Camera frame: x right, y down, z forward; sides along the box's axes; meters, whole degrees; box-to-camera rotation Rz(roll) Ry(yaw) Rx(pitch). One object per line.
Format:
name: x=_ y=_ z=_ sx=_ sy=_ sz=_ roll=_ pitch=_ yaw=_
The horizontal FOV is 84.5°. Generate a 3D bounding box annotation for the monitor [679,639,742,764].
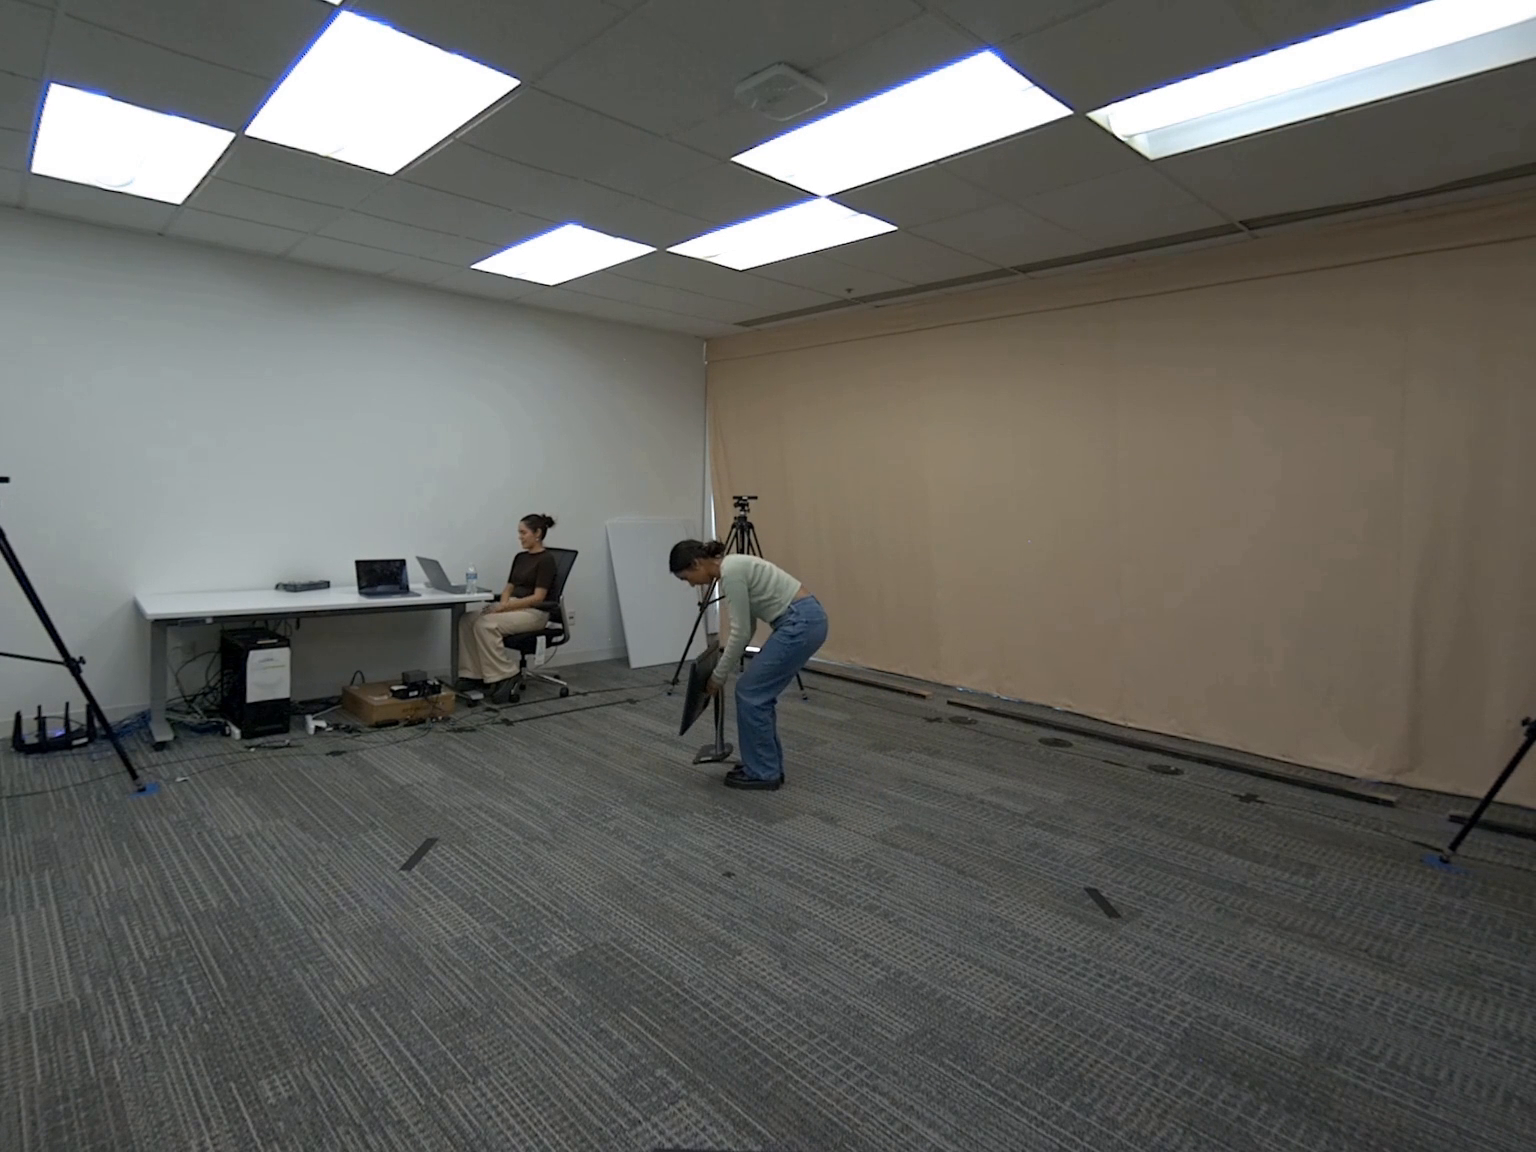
monitor: x=-0.302 y=0.612 z=4.111 sx=0.176 sy=0.514 sz=0.528 roll=-8 pitch=5 yaw=10
